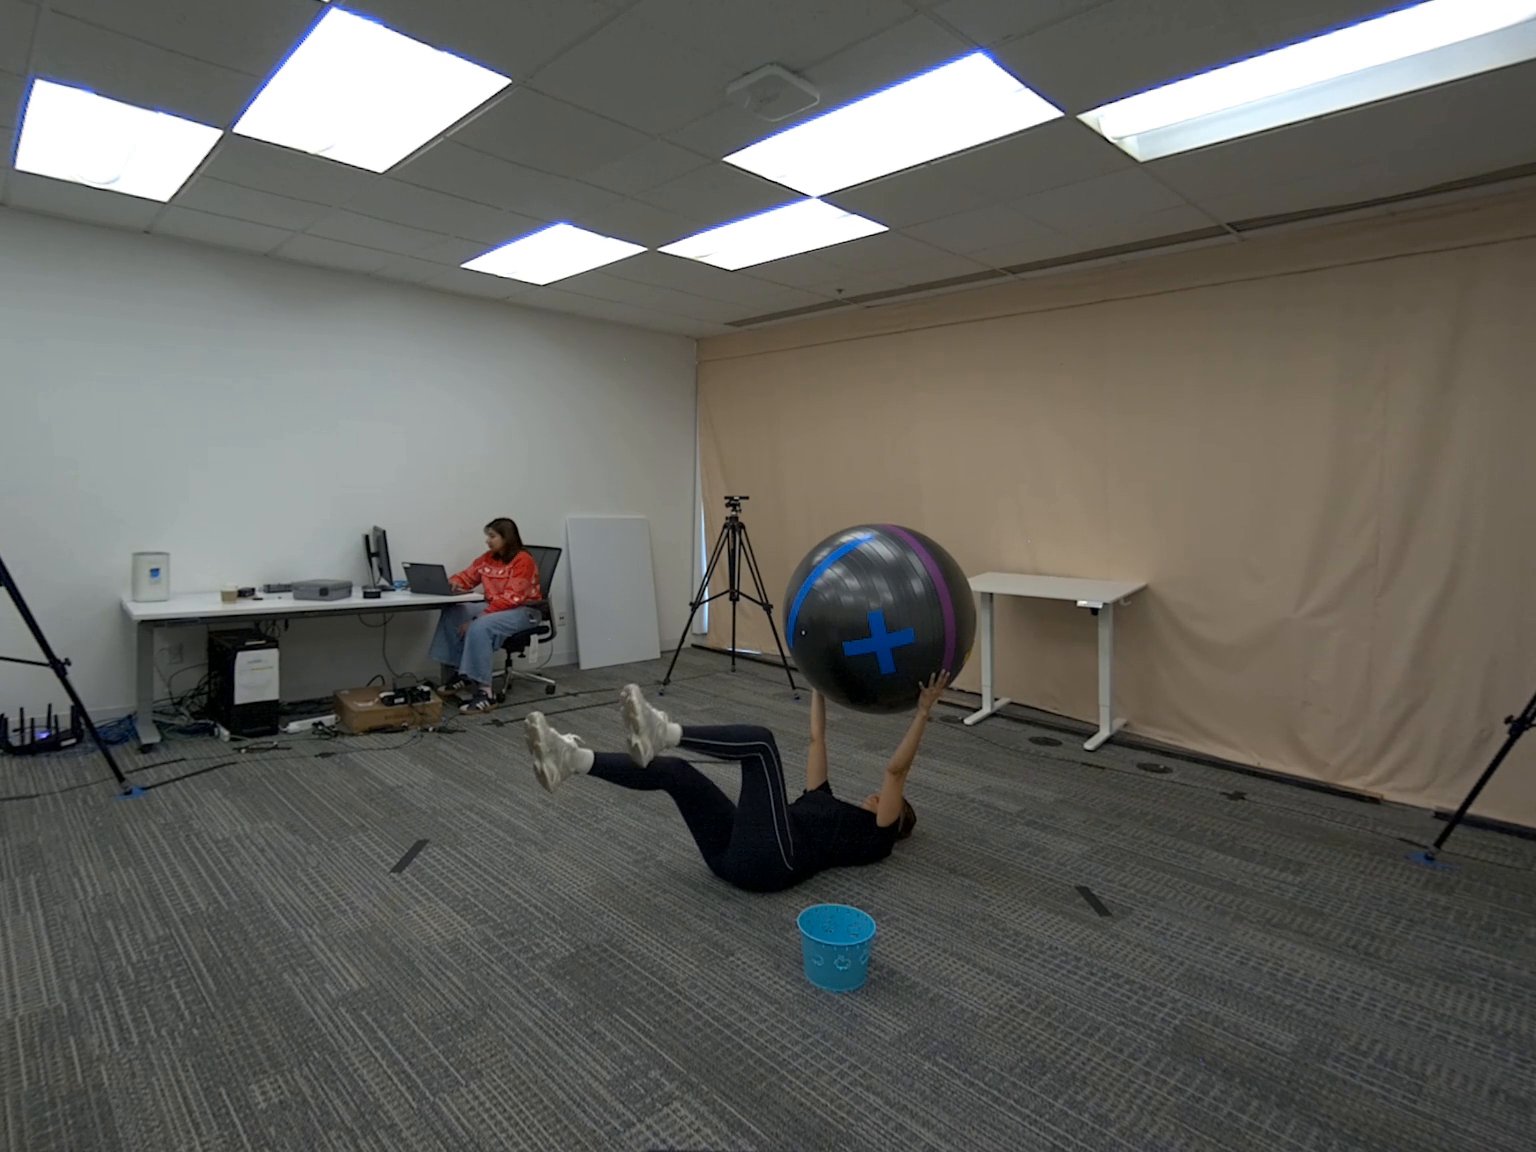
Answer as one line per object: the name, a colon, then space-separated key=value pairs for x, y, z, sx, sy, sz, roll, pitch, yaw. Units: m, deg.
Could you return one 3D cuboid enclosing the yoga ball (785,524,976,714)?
yoga ball: x=0.434 y=0.170 z=3.358 sx=0.757 sy=0.754 sz=0.762 roll=0 pitch=7 yaw=-1
